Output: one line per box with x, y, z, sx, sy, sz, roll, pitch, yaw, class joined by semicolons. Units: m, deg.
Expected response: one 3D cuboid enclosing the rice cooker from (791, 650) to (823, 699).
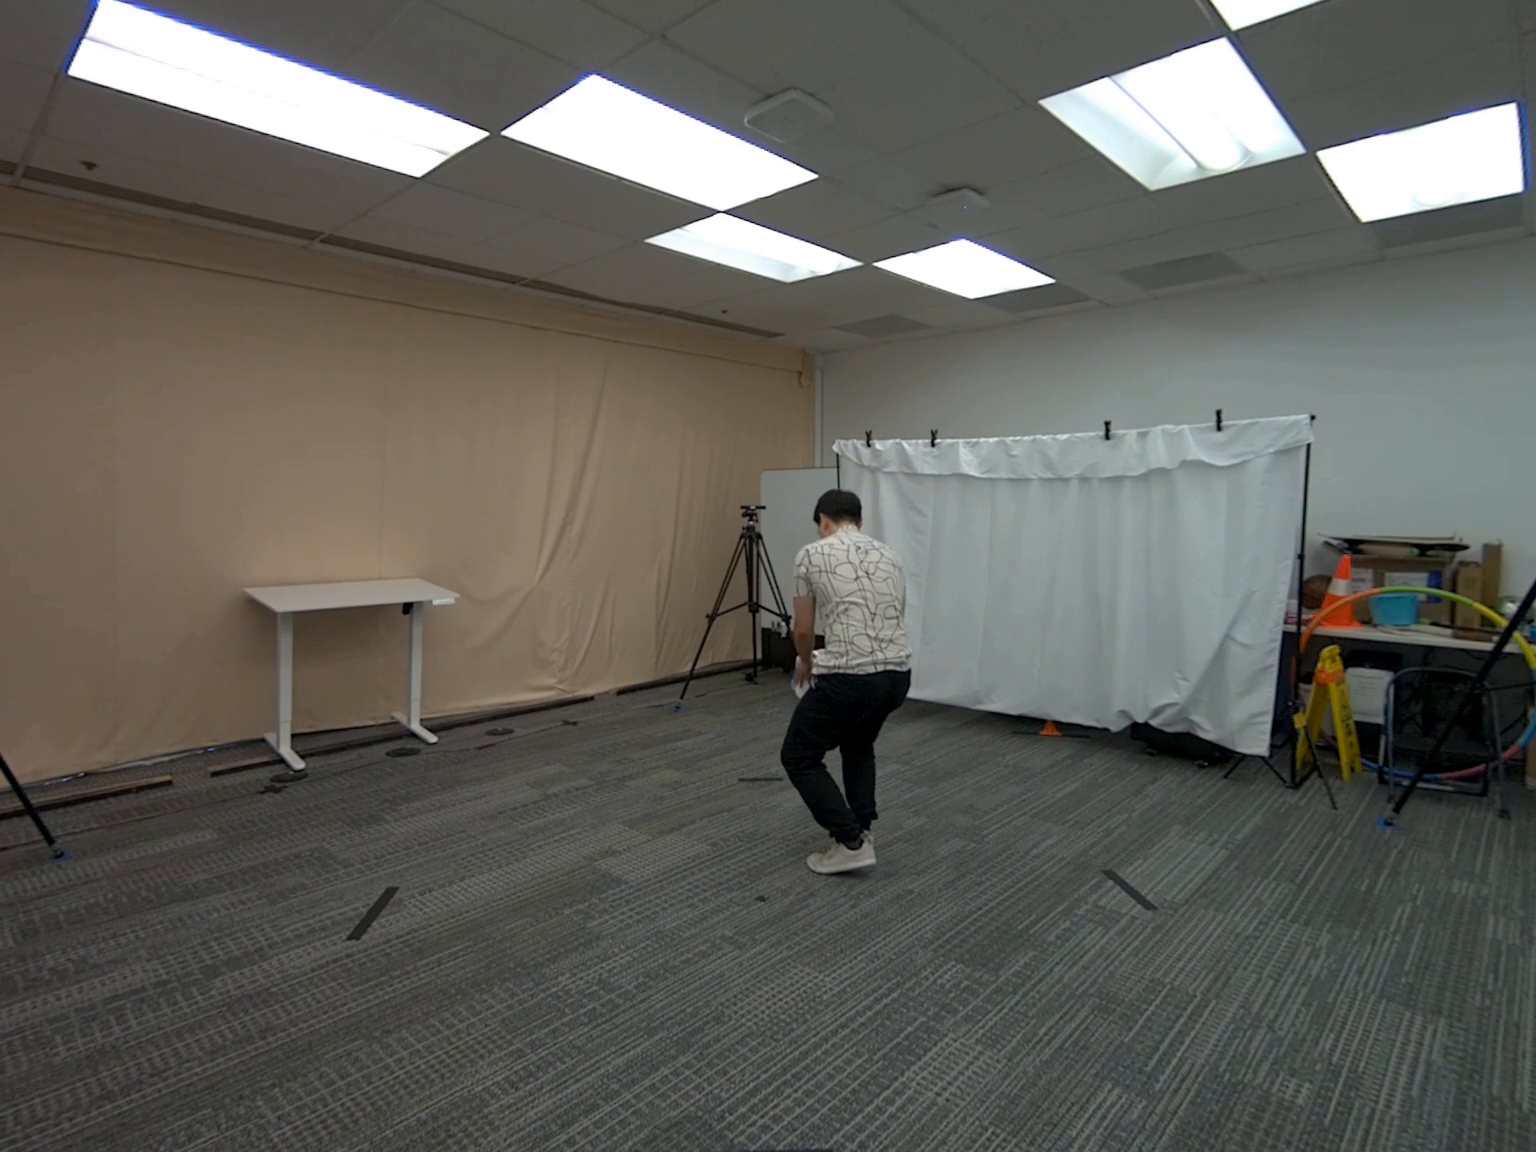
0.242;0.439;3.695;0.214;0.231;0.226;3;16;-16;rice cooker
